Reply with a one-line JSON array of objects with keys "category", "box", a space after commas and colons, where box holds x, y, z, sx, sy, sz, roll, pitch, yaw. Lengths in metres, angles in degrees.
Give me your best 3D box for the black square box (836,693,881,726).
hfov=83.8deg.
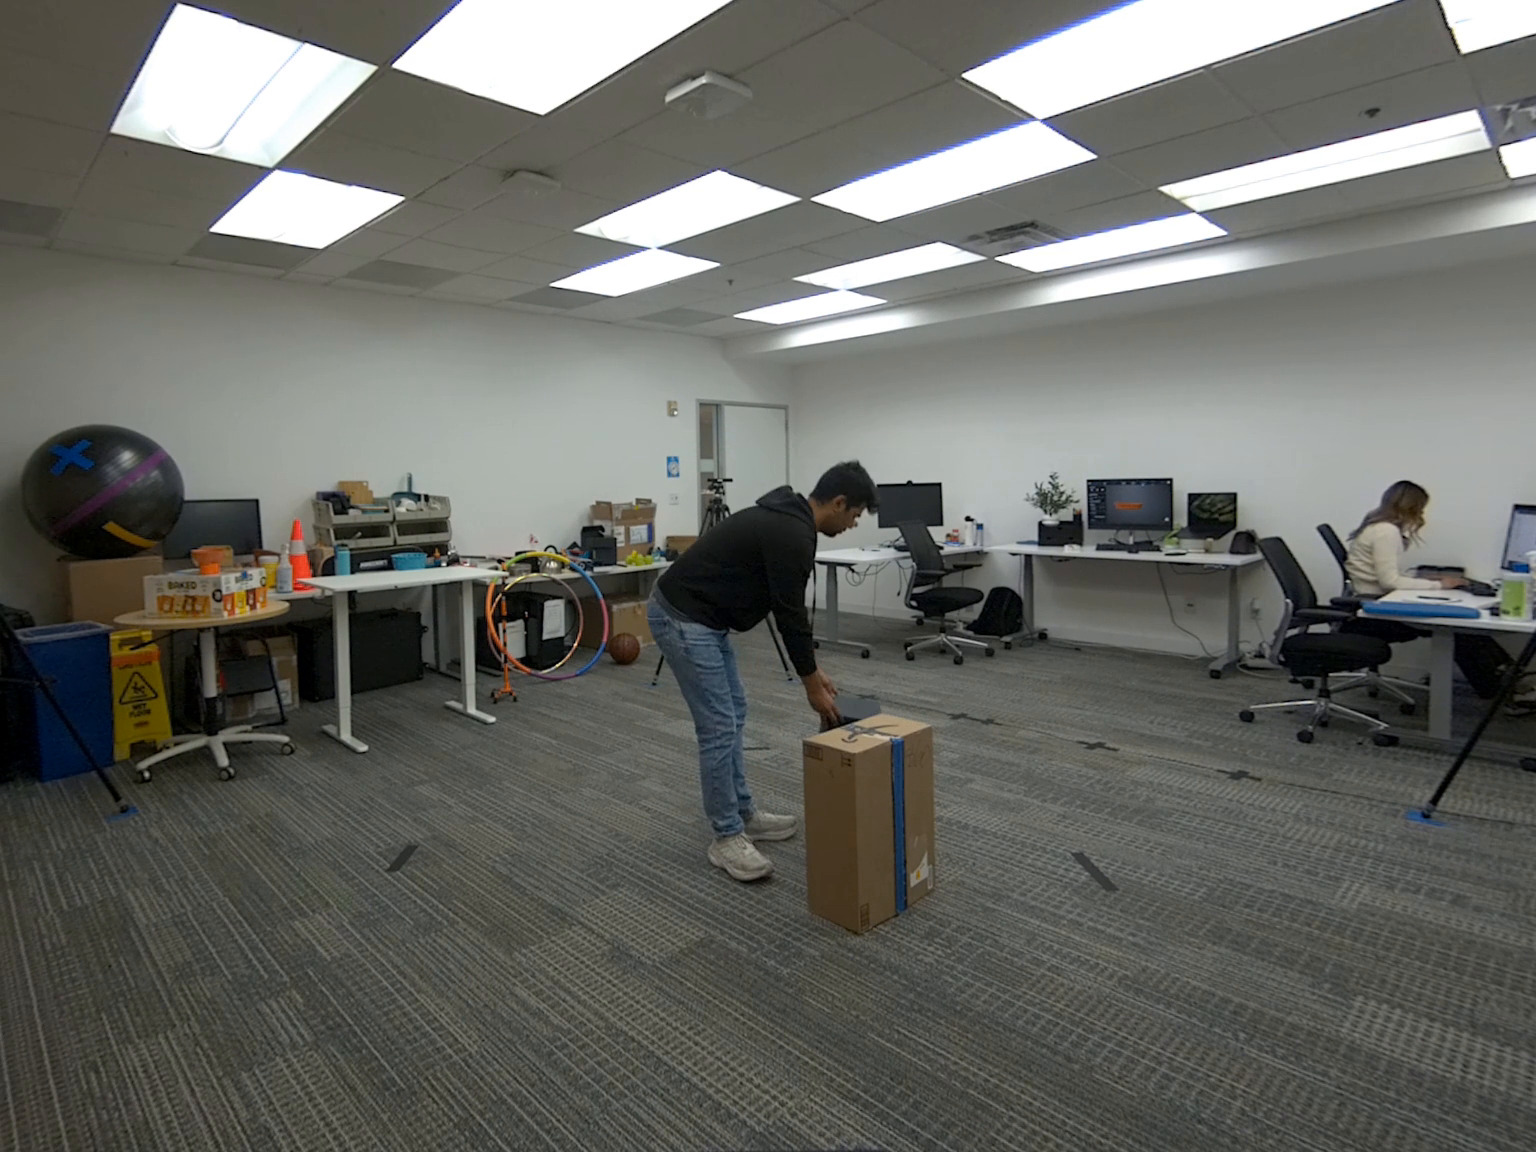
[{"category": "black square box", "box": [0.331, 0.568, 3.282, 0.217, 0.155, 0.229, 6, 9, 0]}]
